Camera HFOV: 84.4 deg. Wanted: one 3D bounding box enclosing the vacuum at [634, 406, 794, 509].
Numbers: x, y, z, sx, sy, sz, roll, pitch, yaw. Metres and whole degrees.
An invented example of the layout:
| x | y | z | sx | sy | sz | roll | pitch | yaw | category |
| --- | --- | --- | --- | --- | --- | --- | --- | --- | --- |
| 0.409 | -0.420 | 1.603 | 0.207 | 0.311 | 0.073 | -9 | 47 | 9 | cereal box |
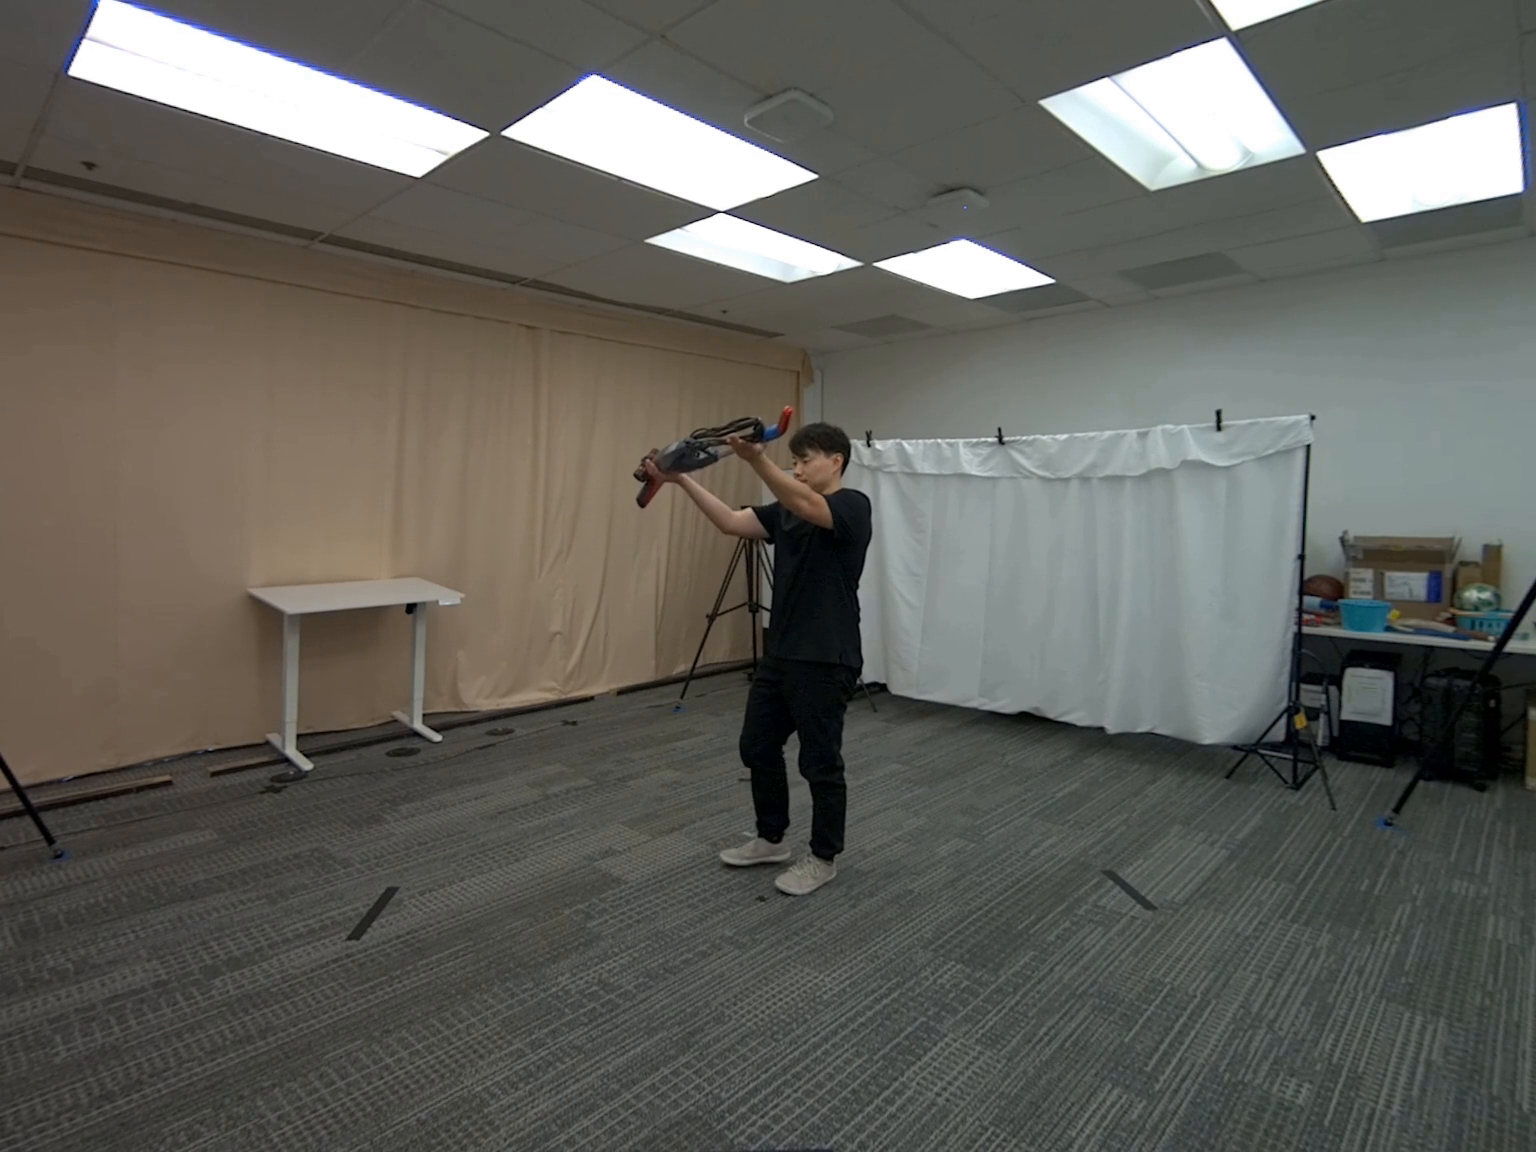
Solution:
| x | y | z | sx | sy | sz | roll | pitch | yaw | category |
| --- | --- | --- | --- | --- | --- | --- | --- | --- | --- |
| -0.199 | -0.417 | 2.749 | 0.141 | 0.252 | 1.071 | 42 | -20 | -17 | vacuum |
